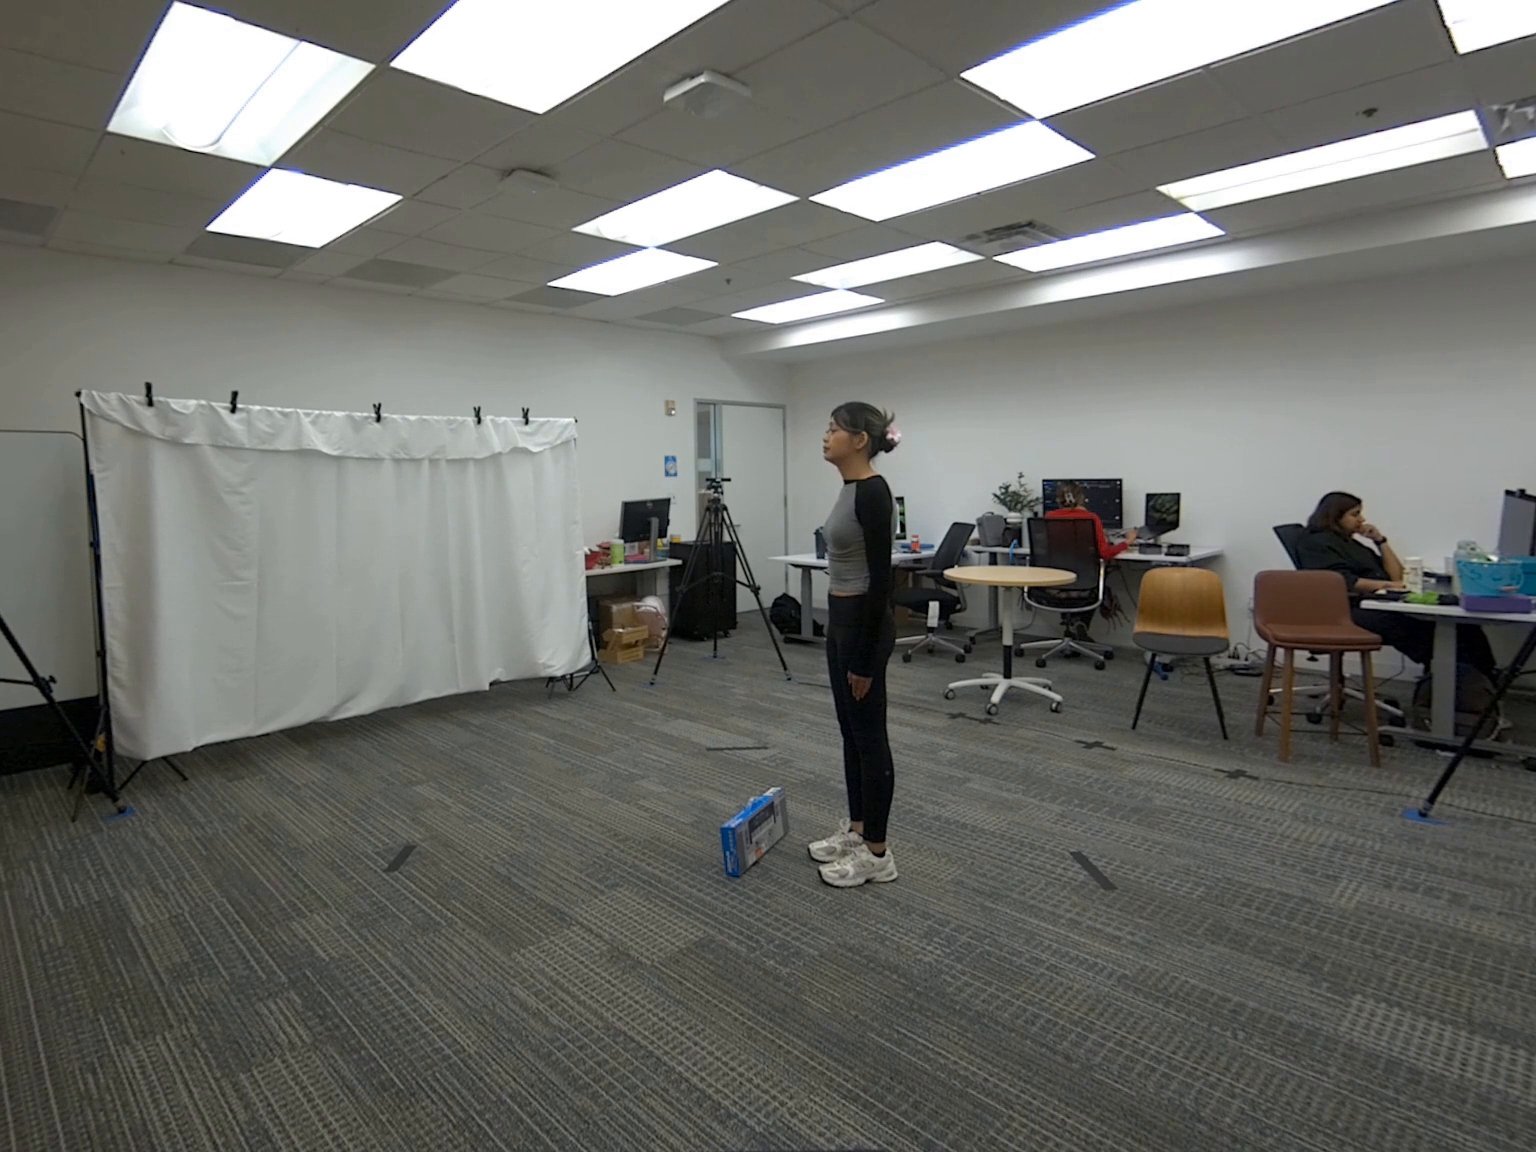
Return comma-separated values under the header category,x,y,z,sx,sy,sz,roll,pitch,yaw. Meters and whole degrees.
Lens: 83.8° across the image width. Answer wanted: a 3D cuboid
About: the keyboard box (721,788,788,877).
category,x,y,z,sx,sy,sz,roll,pitch,yaw
keyboard box,-0.042,0.946,3.191,0.060,0.176,0.428,-6,3,25
